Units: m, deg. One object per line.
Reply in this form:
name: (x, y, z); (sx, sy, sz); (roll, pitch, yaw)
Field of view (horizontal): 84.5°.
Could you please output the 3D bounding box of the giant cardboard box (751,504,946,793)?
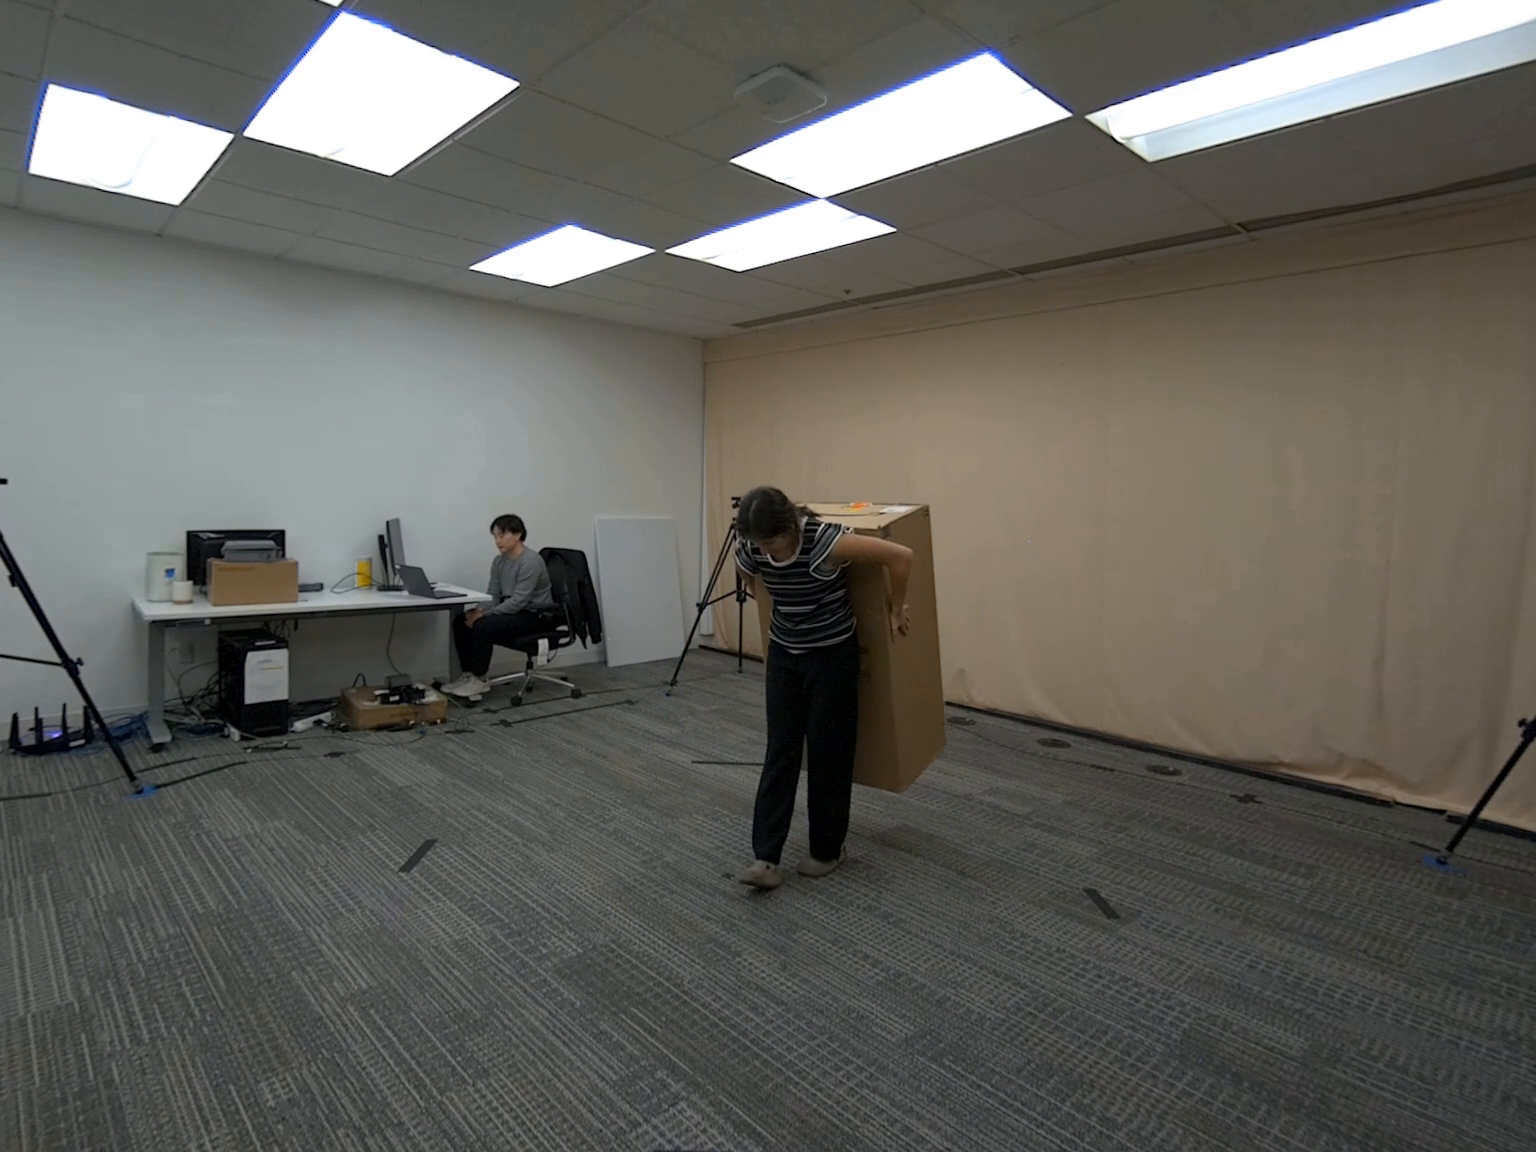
giant cardboard box: (0.326, 0.252, 3.369); (0.591, 1.016, 0.420); (3, 15, 36)
